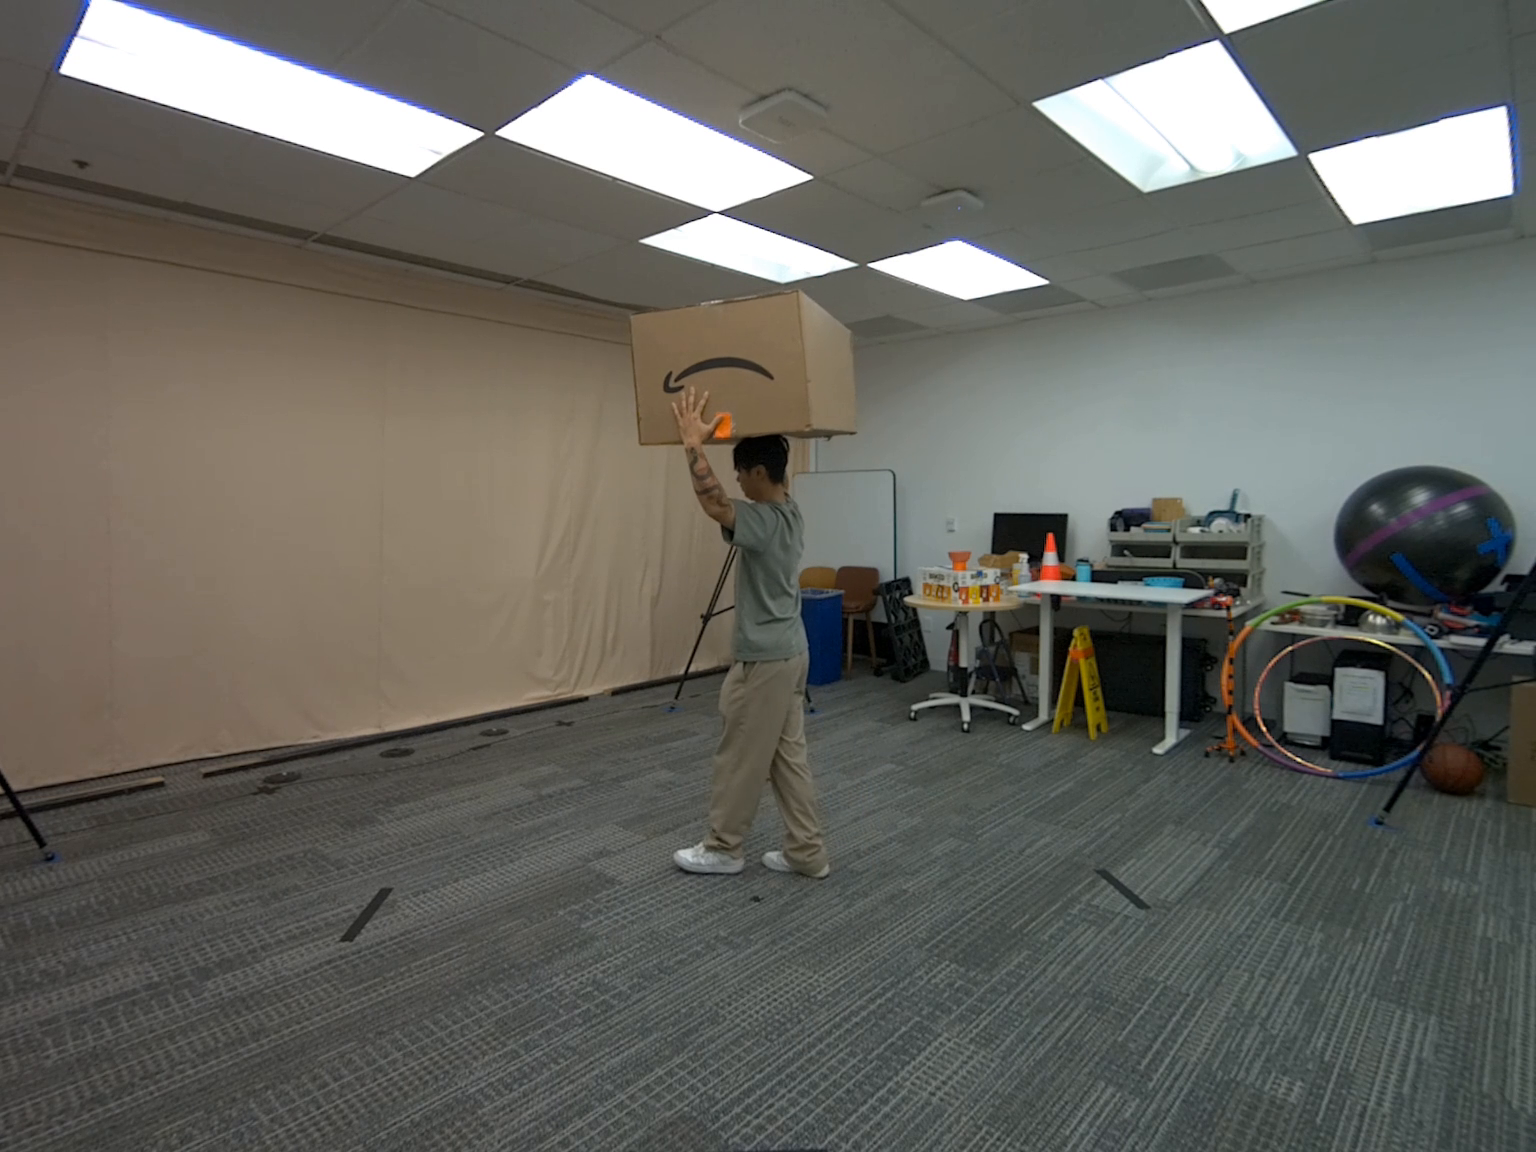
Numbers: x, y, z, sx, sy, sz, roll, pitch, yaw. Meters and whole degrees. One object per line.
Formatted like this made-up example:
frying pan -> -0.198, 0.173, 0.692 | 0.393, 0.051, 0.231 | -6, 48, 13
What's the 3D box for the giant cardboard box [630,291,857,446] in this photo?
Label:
giant cardboard box -> -0.034, -0.714, 3.126 | 0.588, 0.424, 1.013 | -2, 8, 16
